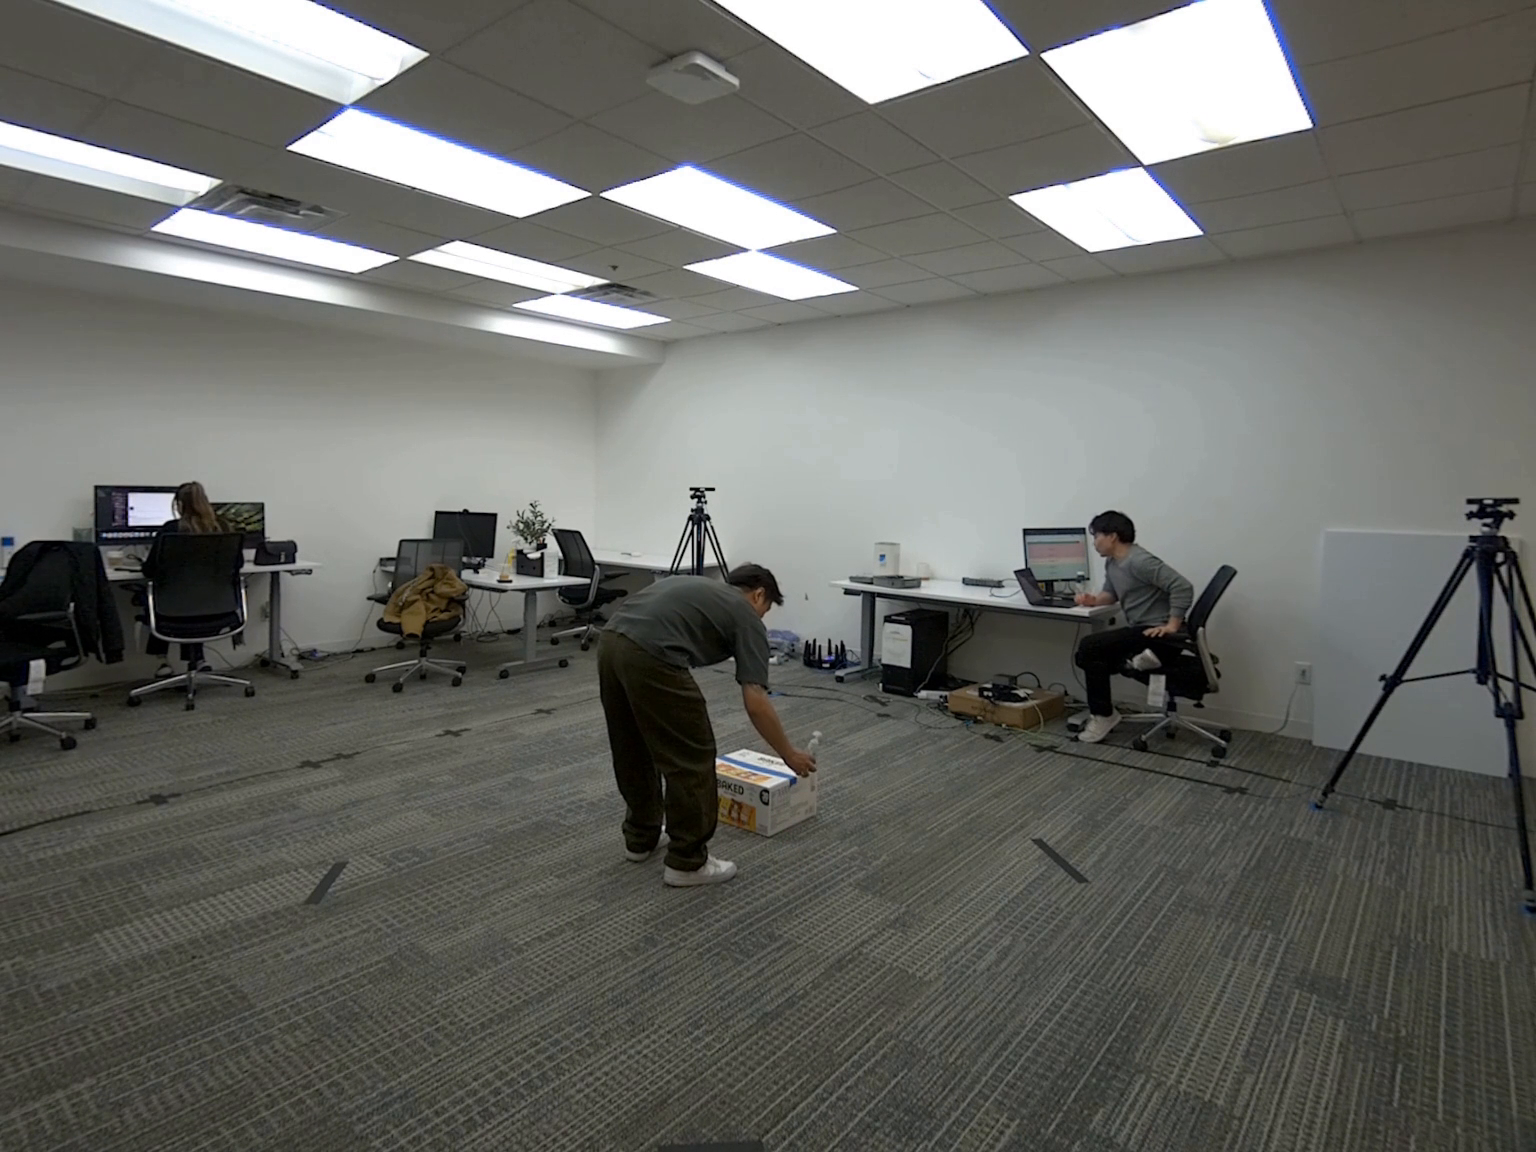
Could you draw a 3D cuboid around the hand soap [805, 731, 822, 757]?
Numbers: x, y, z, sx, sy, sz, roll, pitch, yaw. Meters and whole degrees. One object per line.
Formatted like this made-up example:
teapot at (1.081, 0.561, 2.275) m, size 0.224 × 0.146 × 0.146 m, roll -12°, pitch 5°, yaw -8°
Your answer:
hand soap at (0.147, 0.660, 3.146) m, size 0.045 × 0.167 × 0.082 m, roll 18°, pitch 11°, yaw 25°
